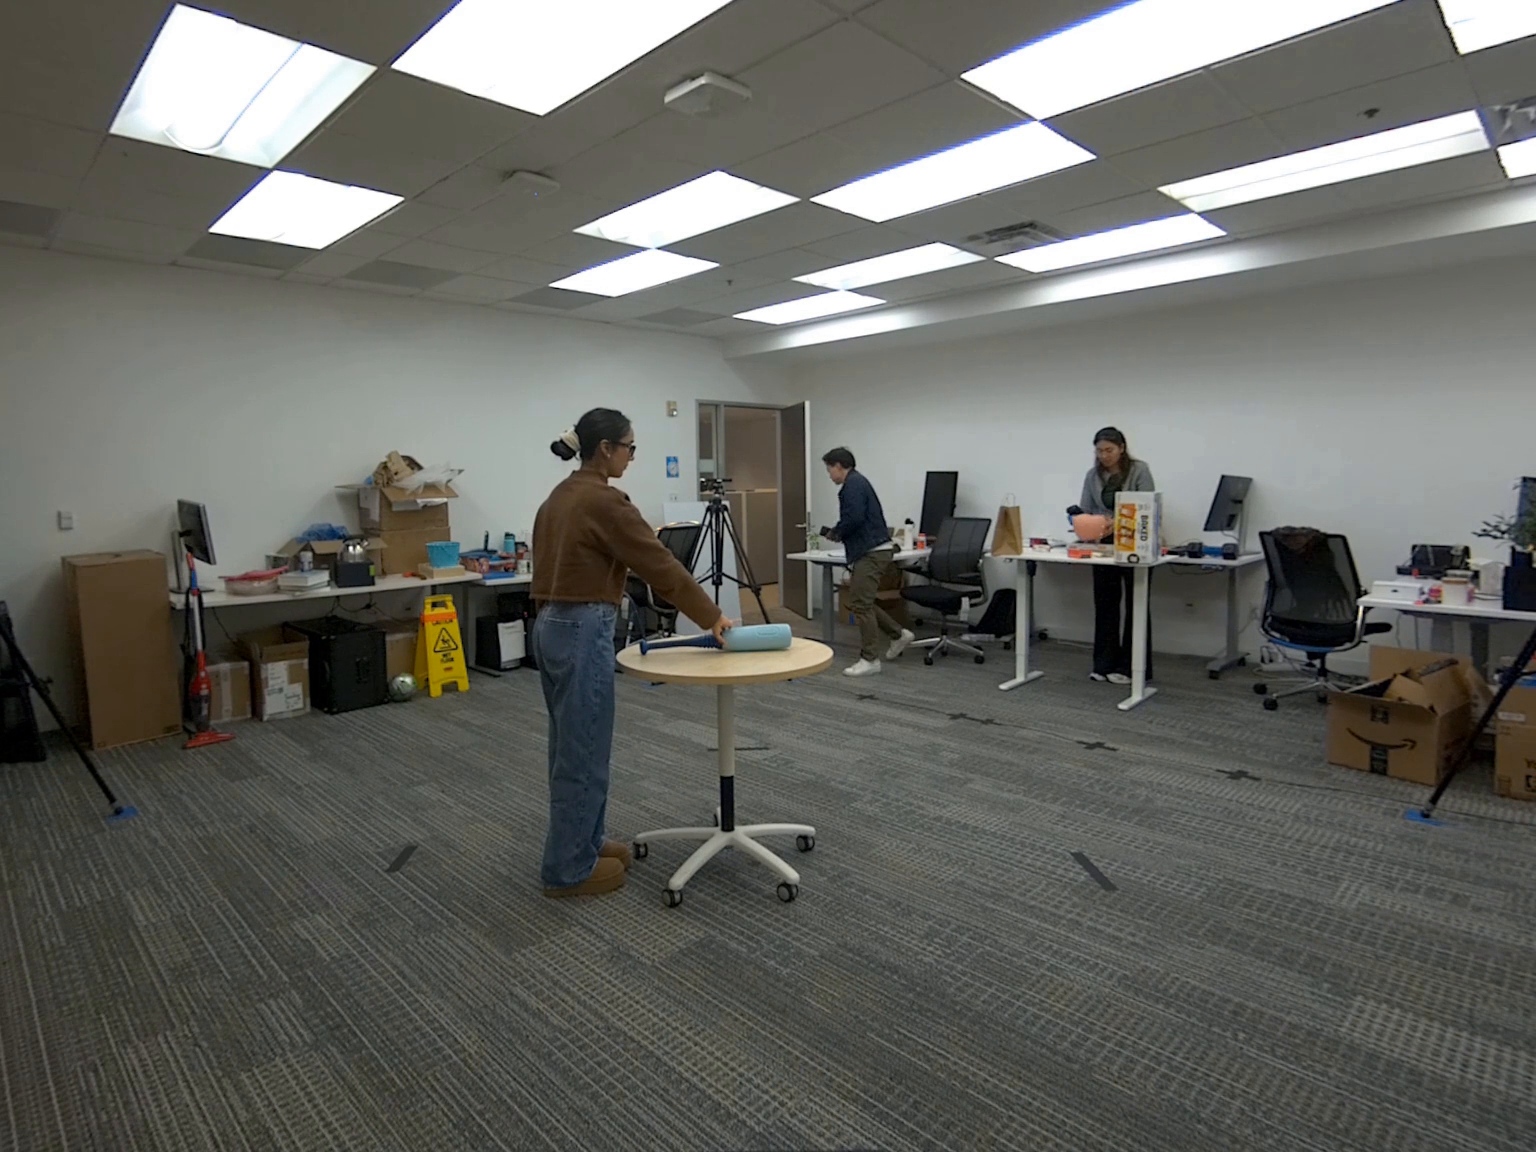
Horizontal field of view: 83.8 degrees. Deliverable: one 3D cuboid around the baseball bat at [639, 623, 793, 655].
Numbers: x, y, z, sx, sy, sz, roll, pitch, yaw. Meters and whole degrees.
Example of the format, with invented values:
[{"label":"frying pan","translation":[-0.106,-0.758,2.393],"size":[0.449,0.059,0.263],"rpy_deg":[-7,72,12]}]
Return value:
[{"label":"baseball bat","translation":[-0.192,0.236,3.045],"size":[0.541,0.089,0.090],"rpy_deg":[-5,5,-3]}]
